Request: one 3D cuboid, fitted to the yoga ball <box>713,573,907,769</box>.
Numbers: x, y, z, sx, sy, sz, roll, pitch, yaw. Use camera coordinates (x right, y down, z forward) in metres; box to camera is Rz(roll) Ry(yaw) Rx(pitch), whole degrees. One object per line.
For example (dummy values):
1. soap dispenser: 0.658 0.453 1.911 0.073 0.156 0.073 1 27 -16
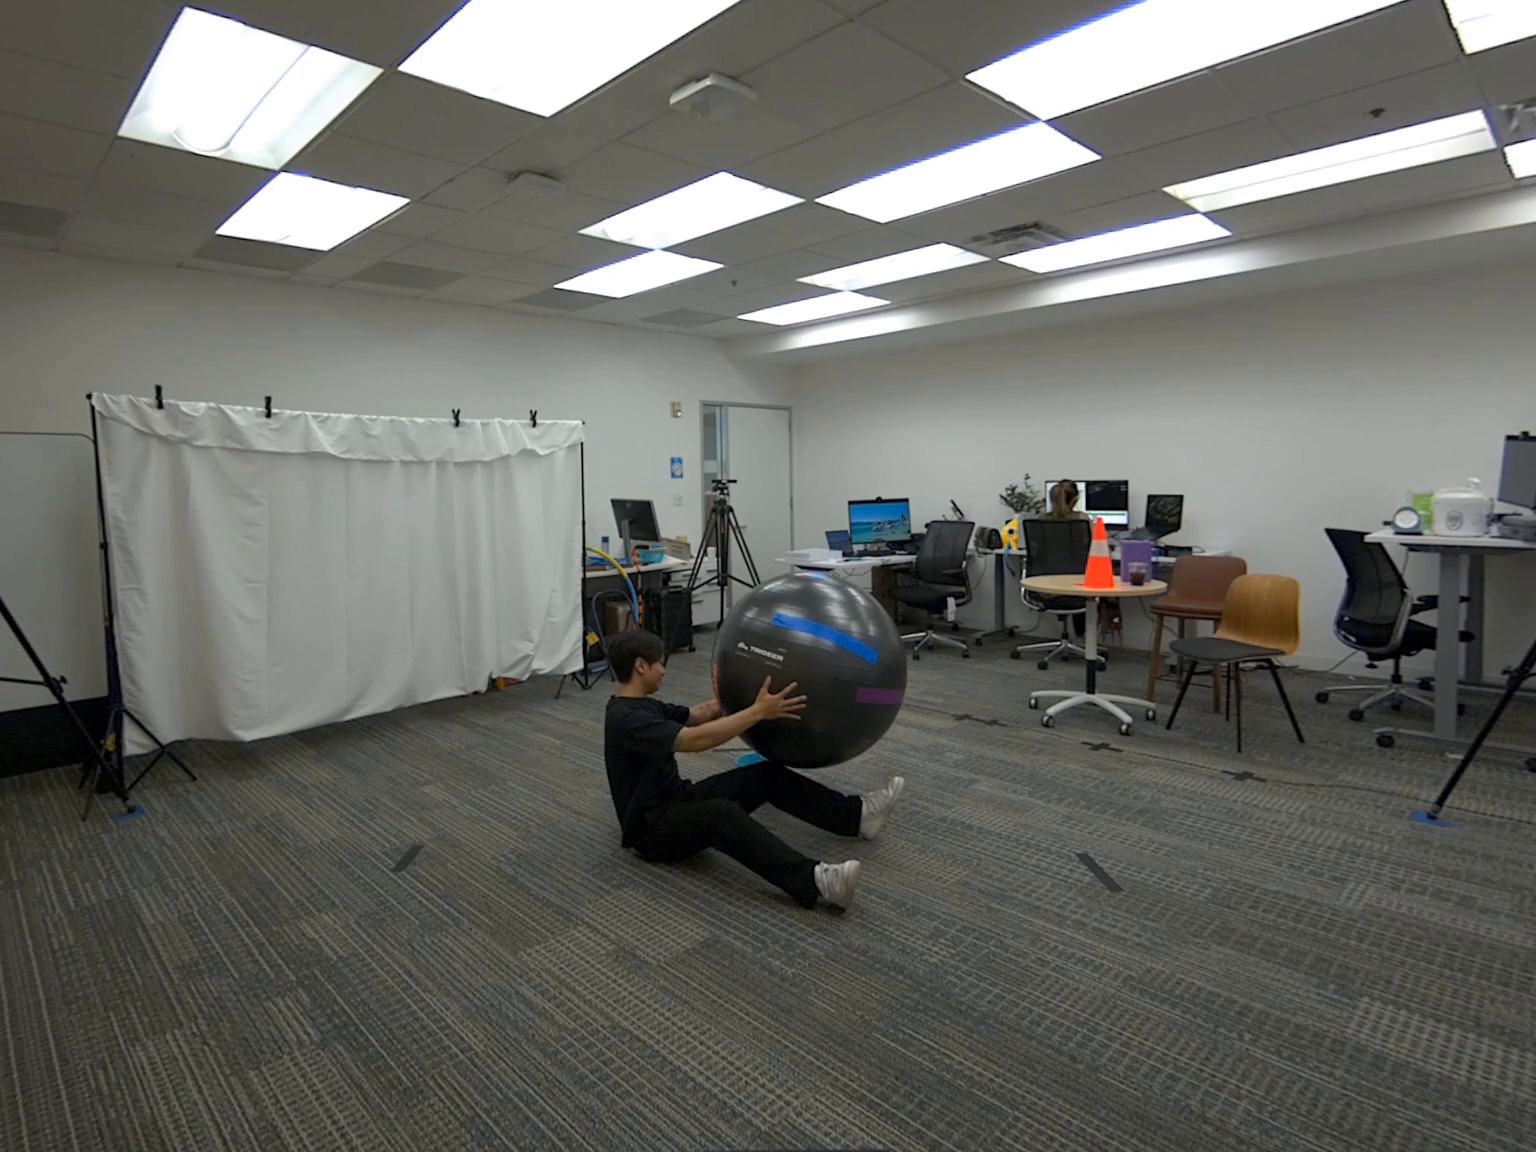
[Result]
1. yoga ball: 0.161 0.370 3.368 0.757 0.755 0.762 -1 5 -2
